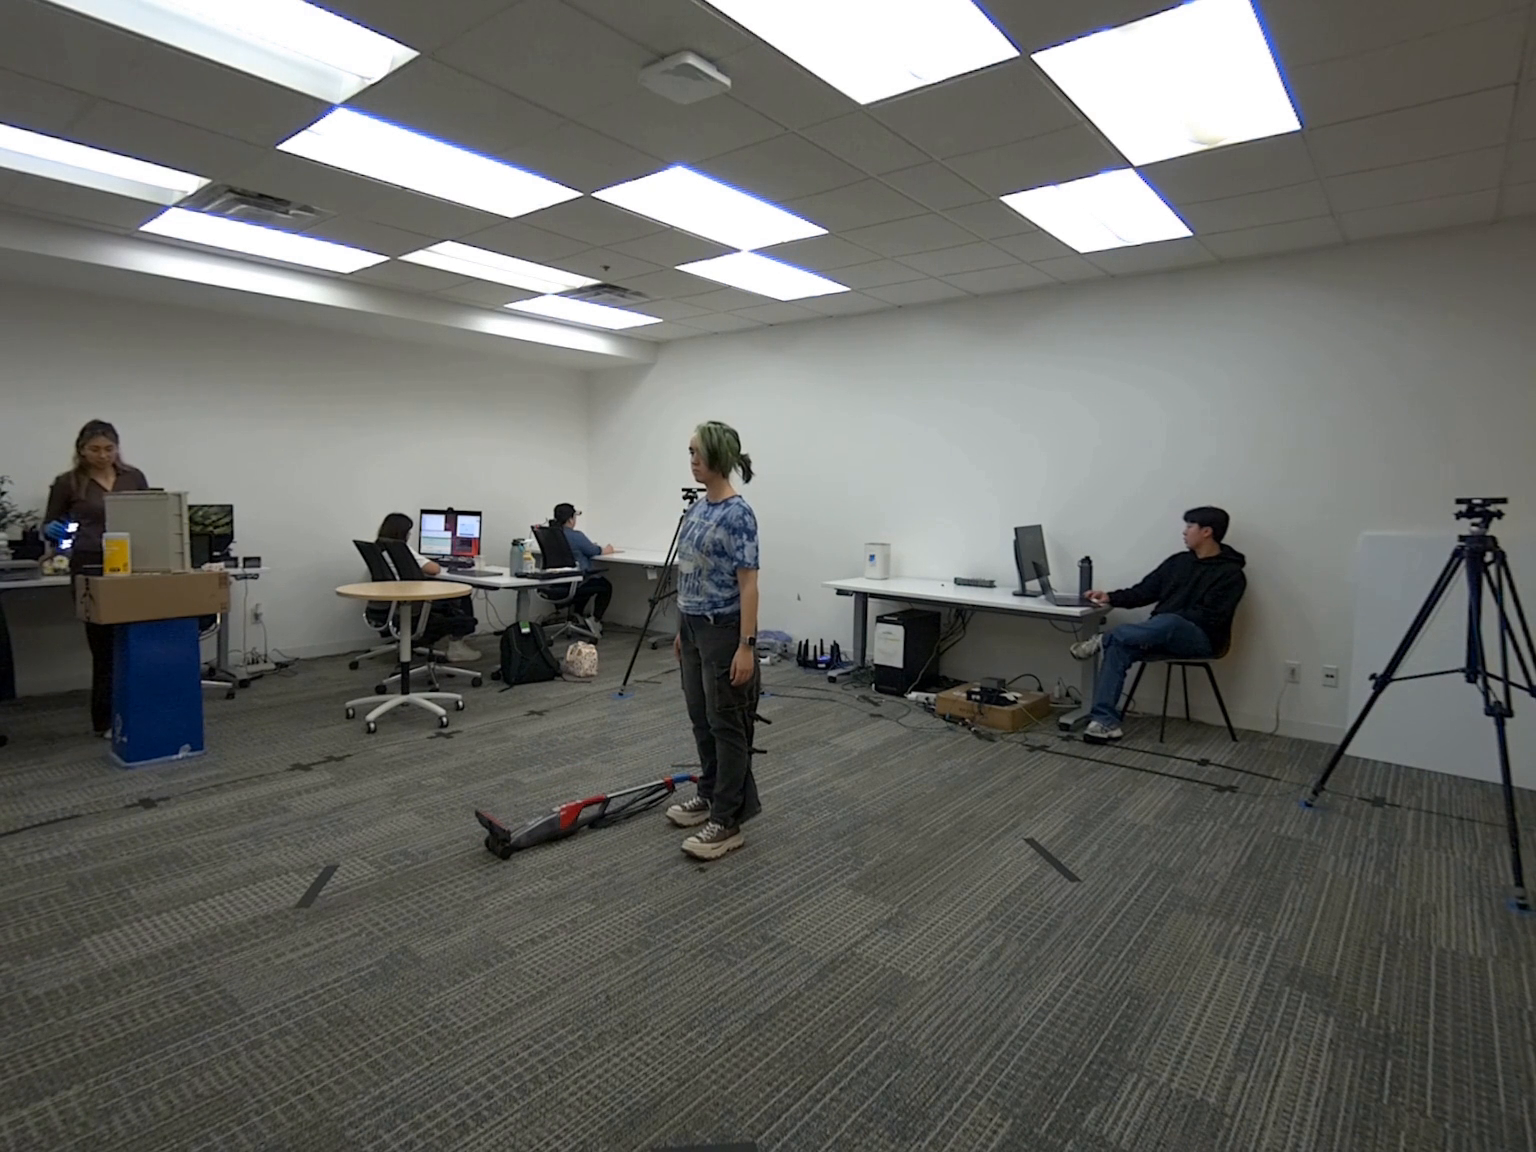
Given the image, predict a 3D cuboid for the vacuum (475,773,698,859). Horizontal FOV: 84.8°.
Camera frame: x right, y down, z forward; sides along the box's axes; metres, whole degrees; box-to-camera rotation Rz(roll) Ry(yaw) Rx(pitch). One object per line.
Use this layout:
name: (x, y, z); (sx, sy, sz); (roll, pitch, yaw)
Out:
vacuum: (-0.680, 0.962, 3.524); (1.017, 0.143, 0.262); (-3, 8, -43)
